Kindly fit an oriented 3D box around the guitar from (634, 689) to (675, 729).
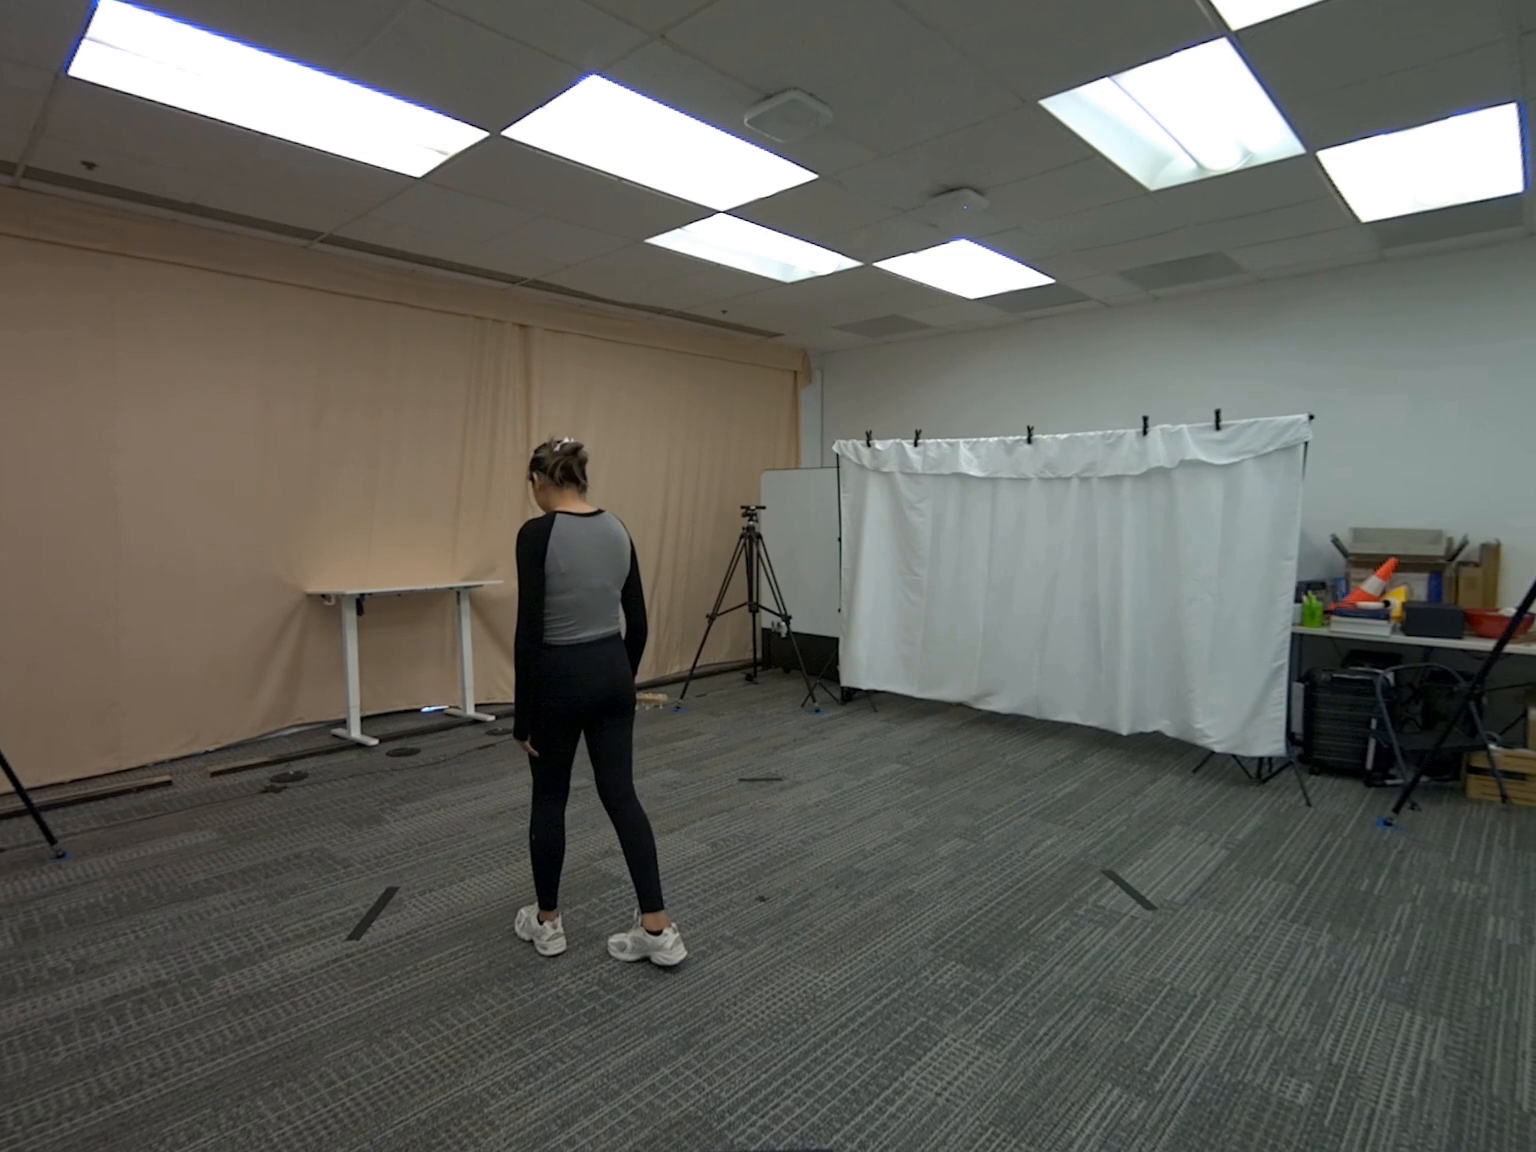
[{"bbox_3d":[-0.577,0.430,2.853,0.512,0.070,0.188,1,5,30],"label":"guitar"}]
